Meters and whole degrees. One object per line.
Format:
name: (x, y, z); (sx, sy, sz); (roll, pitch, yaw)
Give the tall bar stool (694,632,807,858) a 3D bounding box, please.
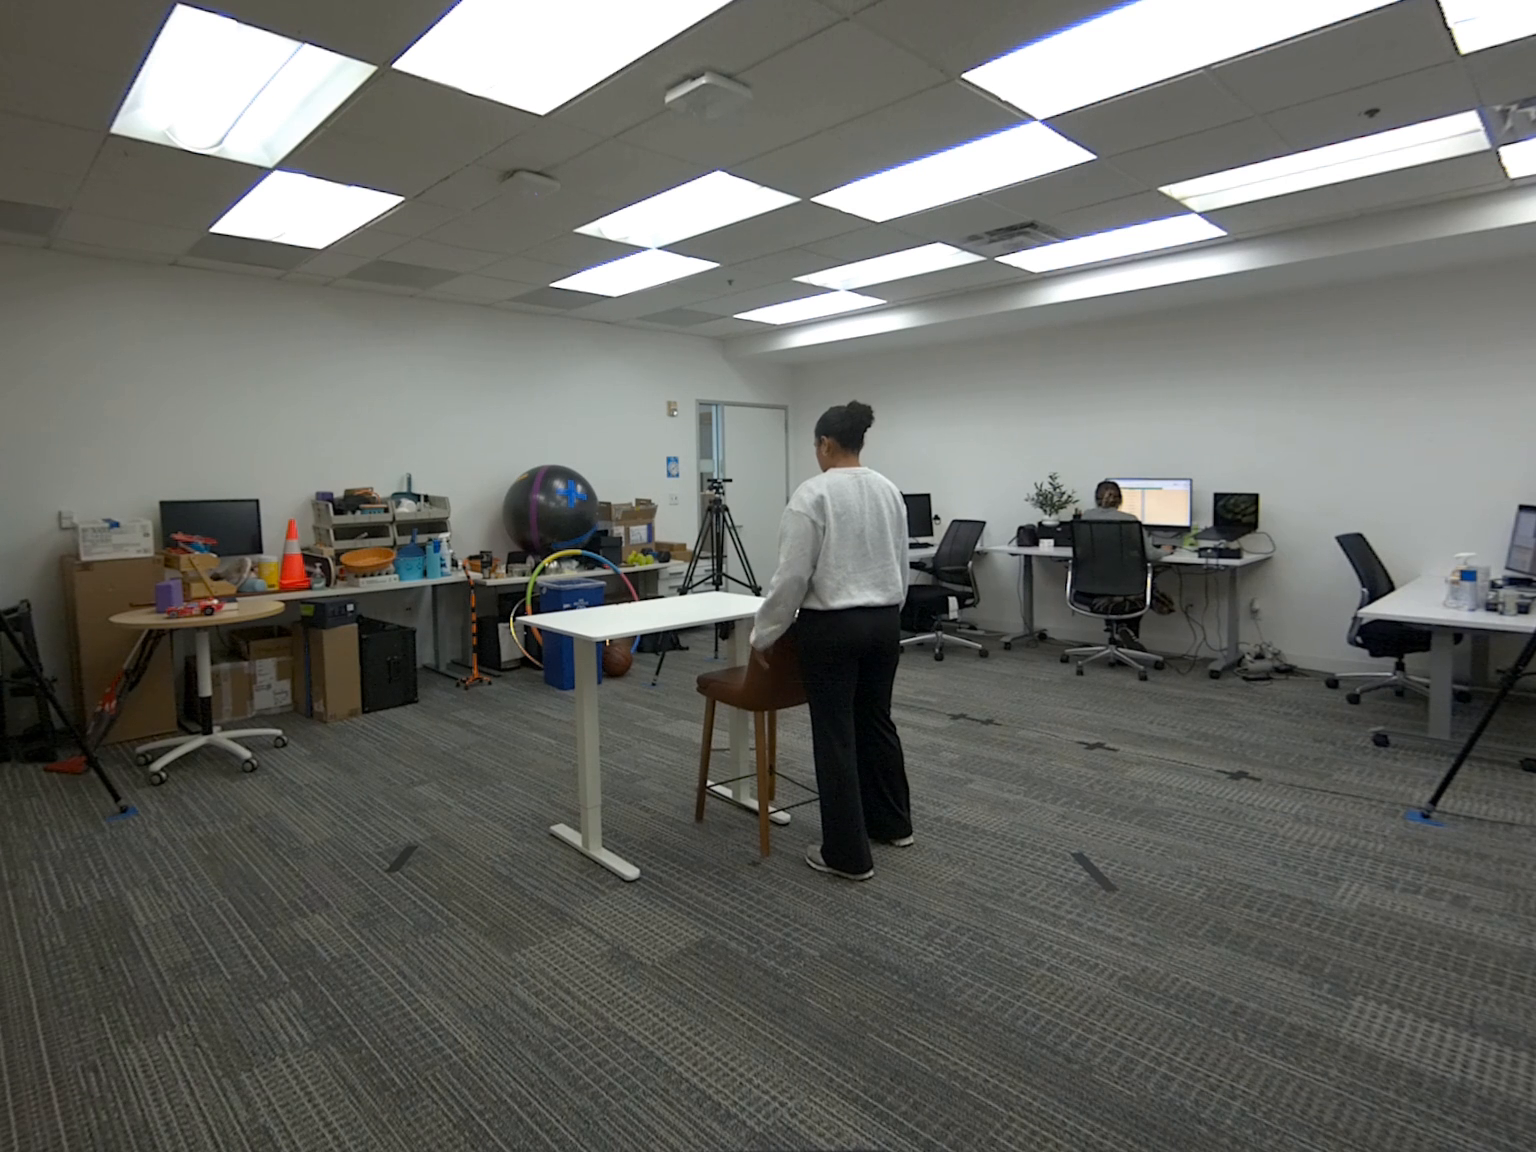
tall bar stool: (-0.004, 0.572, 3.403); (0.445, 0.885, 0.482); (-3, 7, -36)
